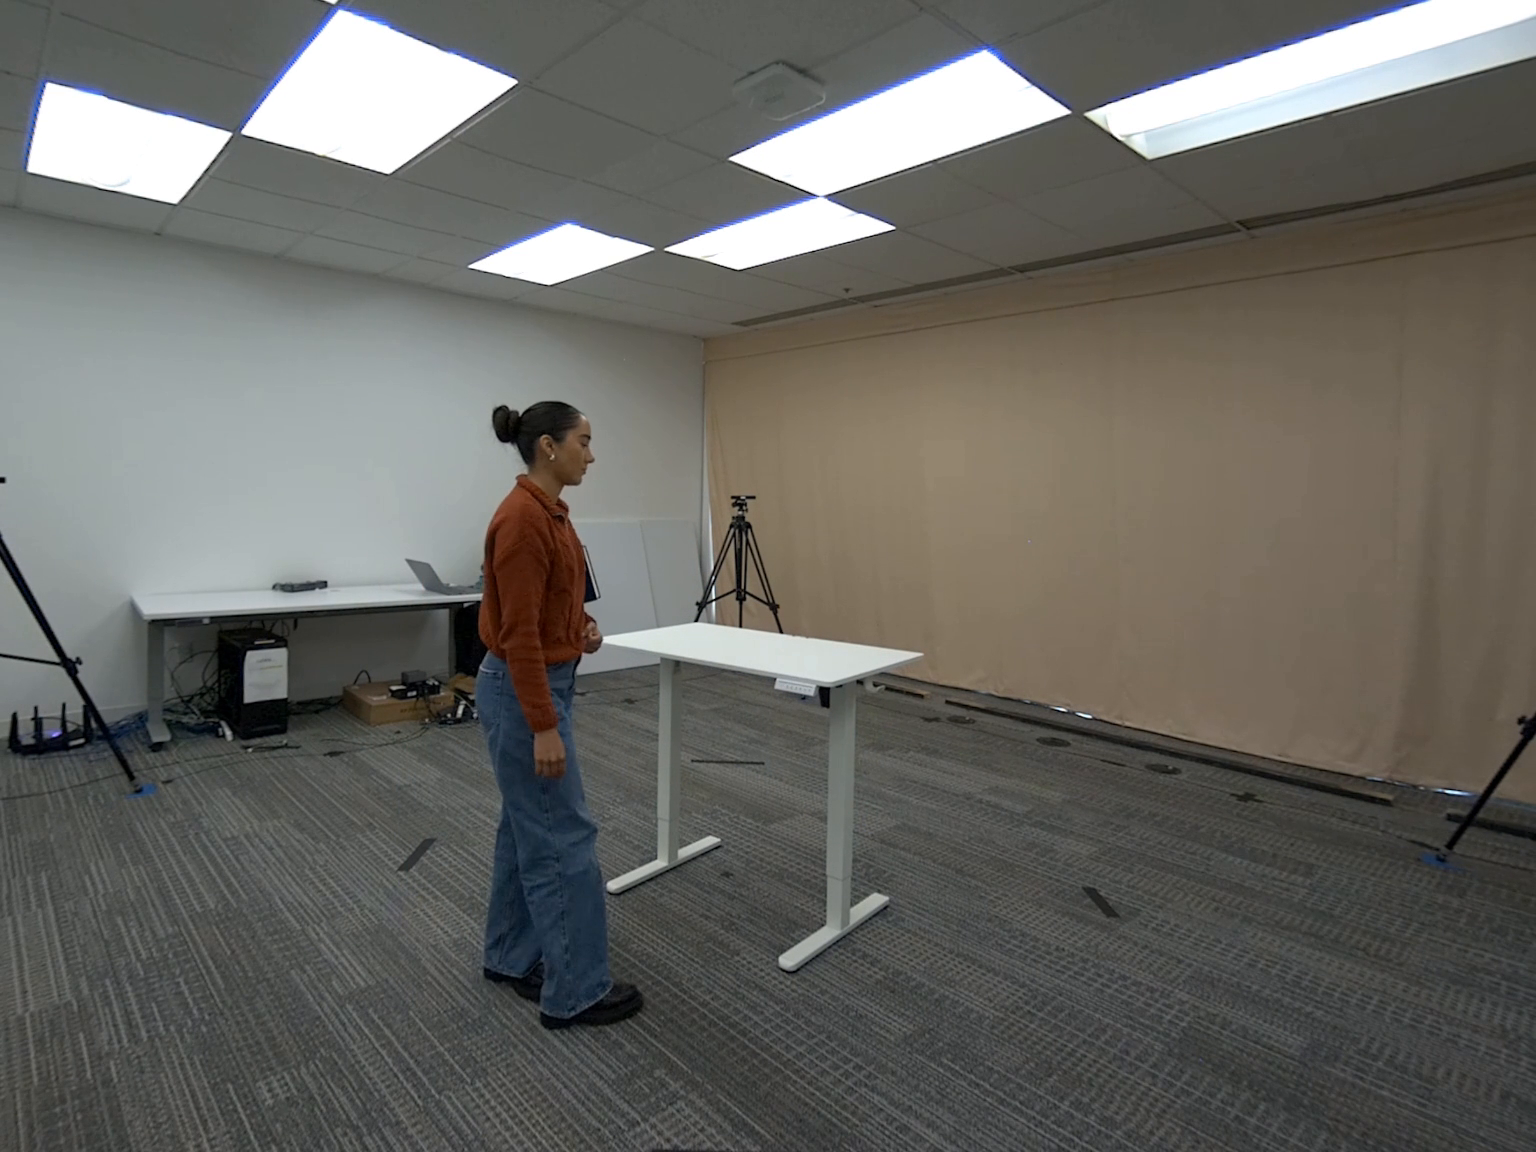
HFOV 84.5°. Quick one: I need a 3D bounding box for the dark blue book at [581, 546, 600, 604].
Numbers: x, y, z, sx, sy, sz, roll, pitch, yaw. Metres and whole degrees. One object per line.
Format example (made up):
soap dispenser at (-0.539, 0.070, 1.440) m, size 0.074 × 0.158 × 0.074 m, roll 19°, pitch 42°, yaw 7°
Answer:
dark blue book at (-0.619, 0.024, 2.448) m, size 0.245 × 0.162 × 0.045 m, roll -15°, pitch 7°, yaw 0°
